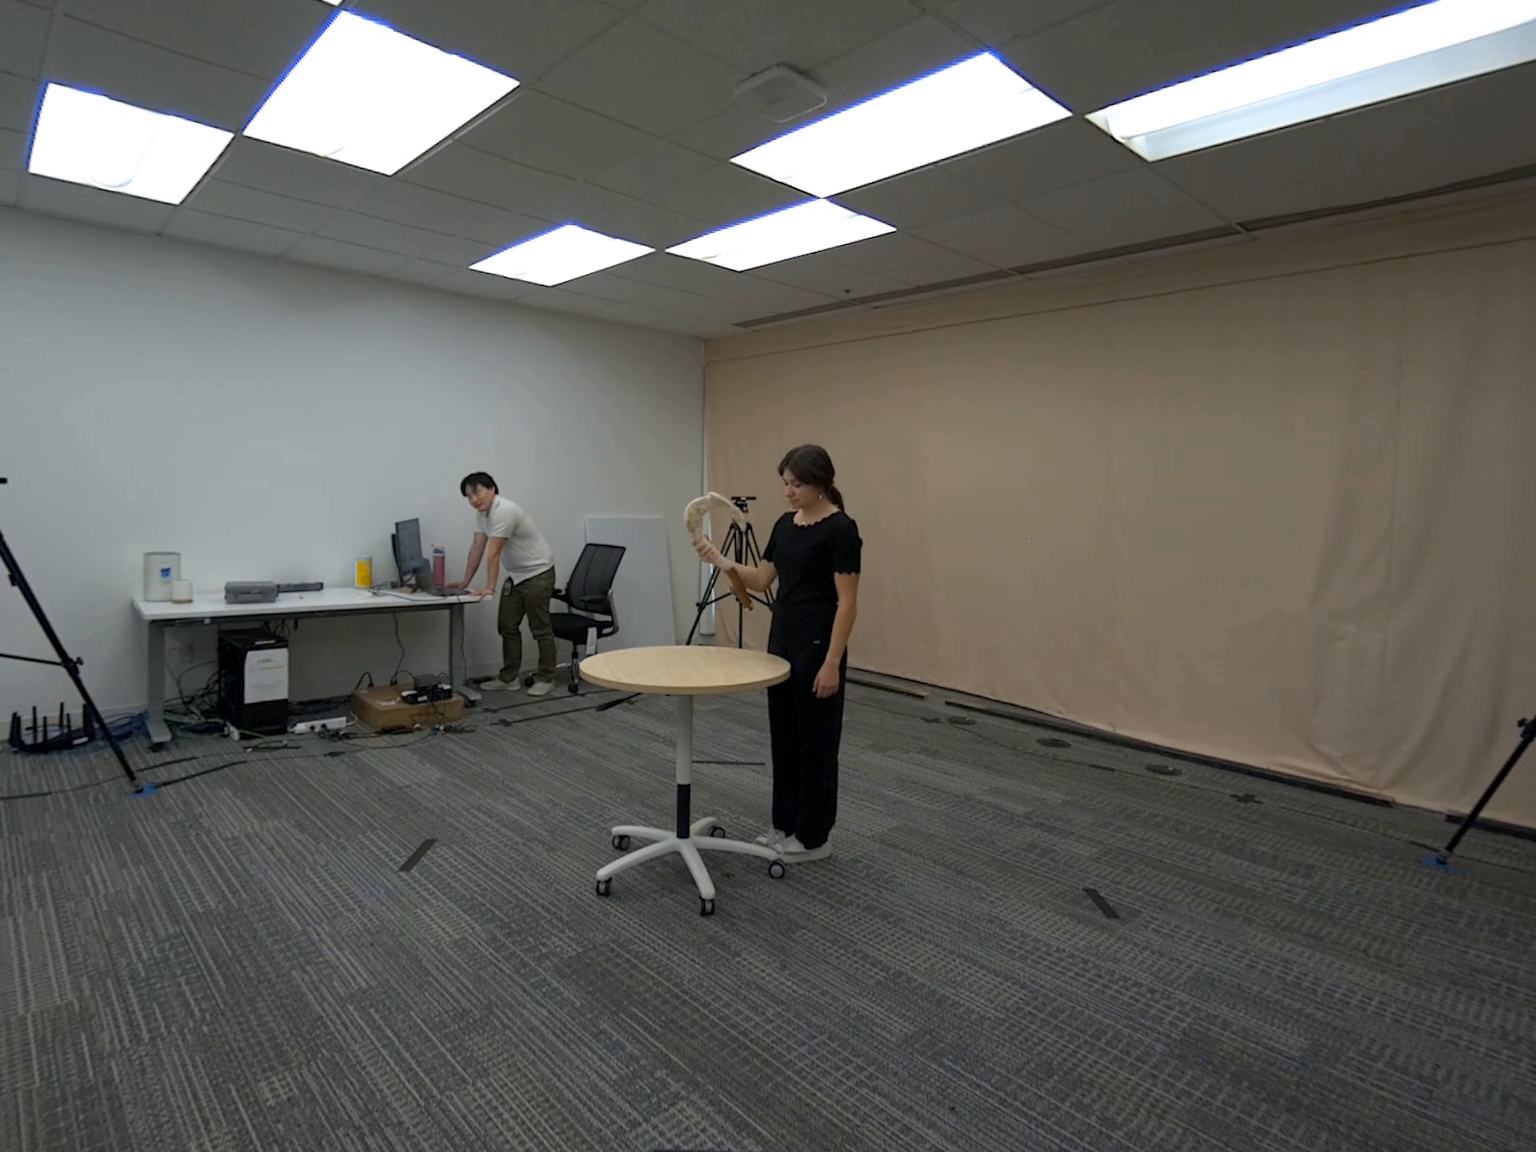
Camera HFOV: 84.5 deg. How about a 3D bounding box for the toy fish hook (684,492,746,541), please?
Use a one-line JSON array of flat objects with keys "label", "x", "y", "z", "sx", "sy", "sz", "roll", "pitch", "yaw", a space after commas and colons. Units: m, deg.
[{"label": "toy fish hook", "x": -0.138, "y": -0.080, "z": 3.270, "sx": 0.227, "sy": 0.498, "sz": 0.048, "roll": -21, "pitch": 17, "yaw": 22}]
